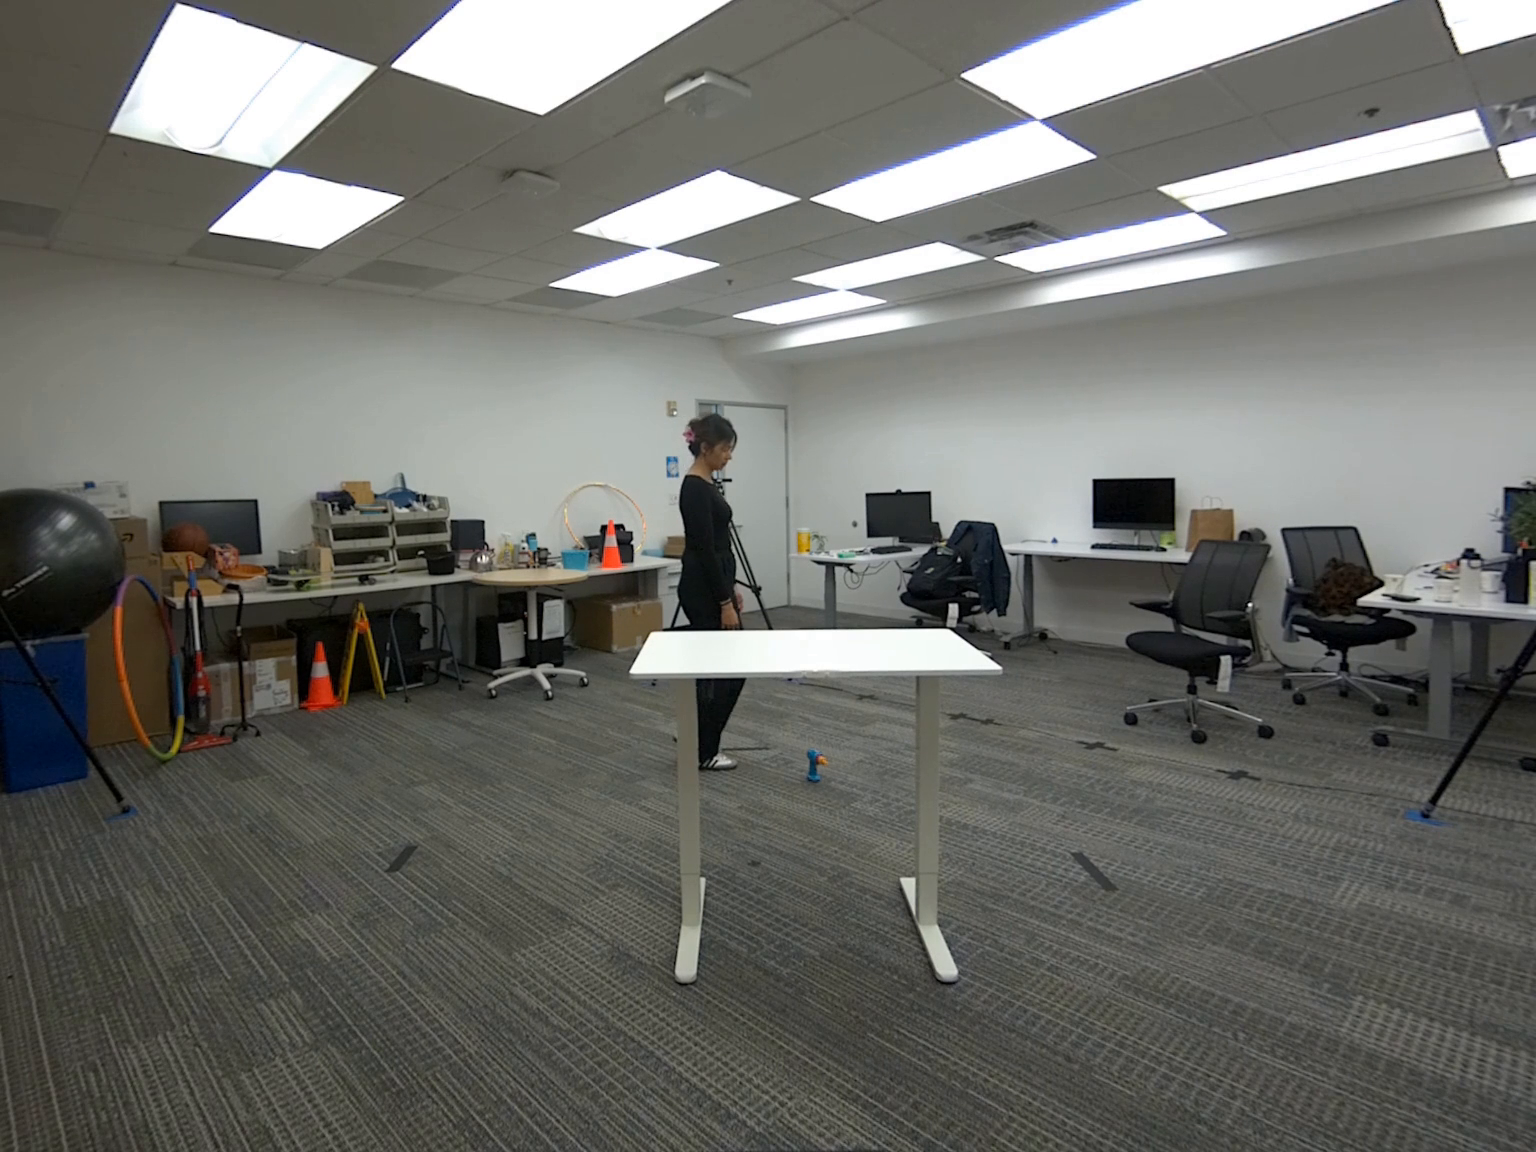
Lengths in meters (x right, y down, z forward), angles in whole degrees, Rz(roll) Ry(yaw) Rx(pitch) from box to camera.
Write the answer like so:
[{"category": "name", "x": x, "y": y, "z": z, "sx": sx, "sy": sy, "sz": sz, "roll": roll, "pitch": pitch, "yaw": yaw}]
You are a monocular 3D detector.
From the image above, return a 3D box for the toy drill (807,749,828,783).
[{"category": "toy drill", "x": 0.229, "y": 0.874, "z": 3.925, "sx": 0.060, "sy": 0.145, "sz": 0.174, "roll": -1, "pitch": 5, "yaw": -25}]
